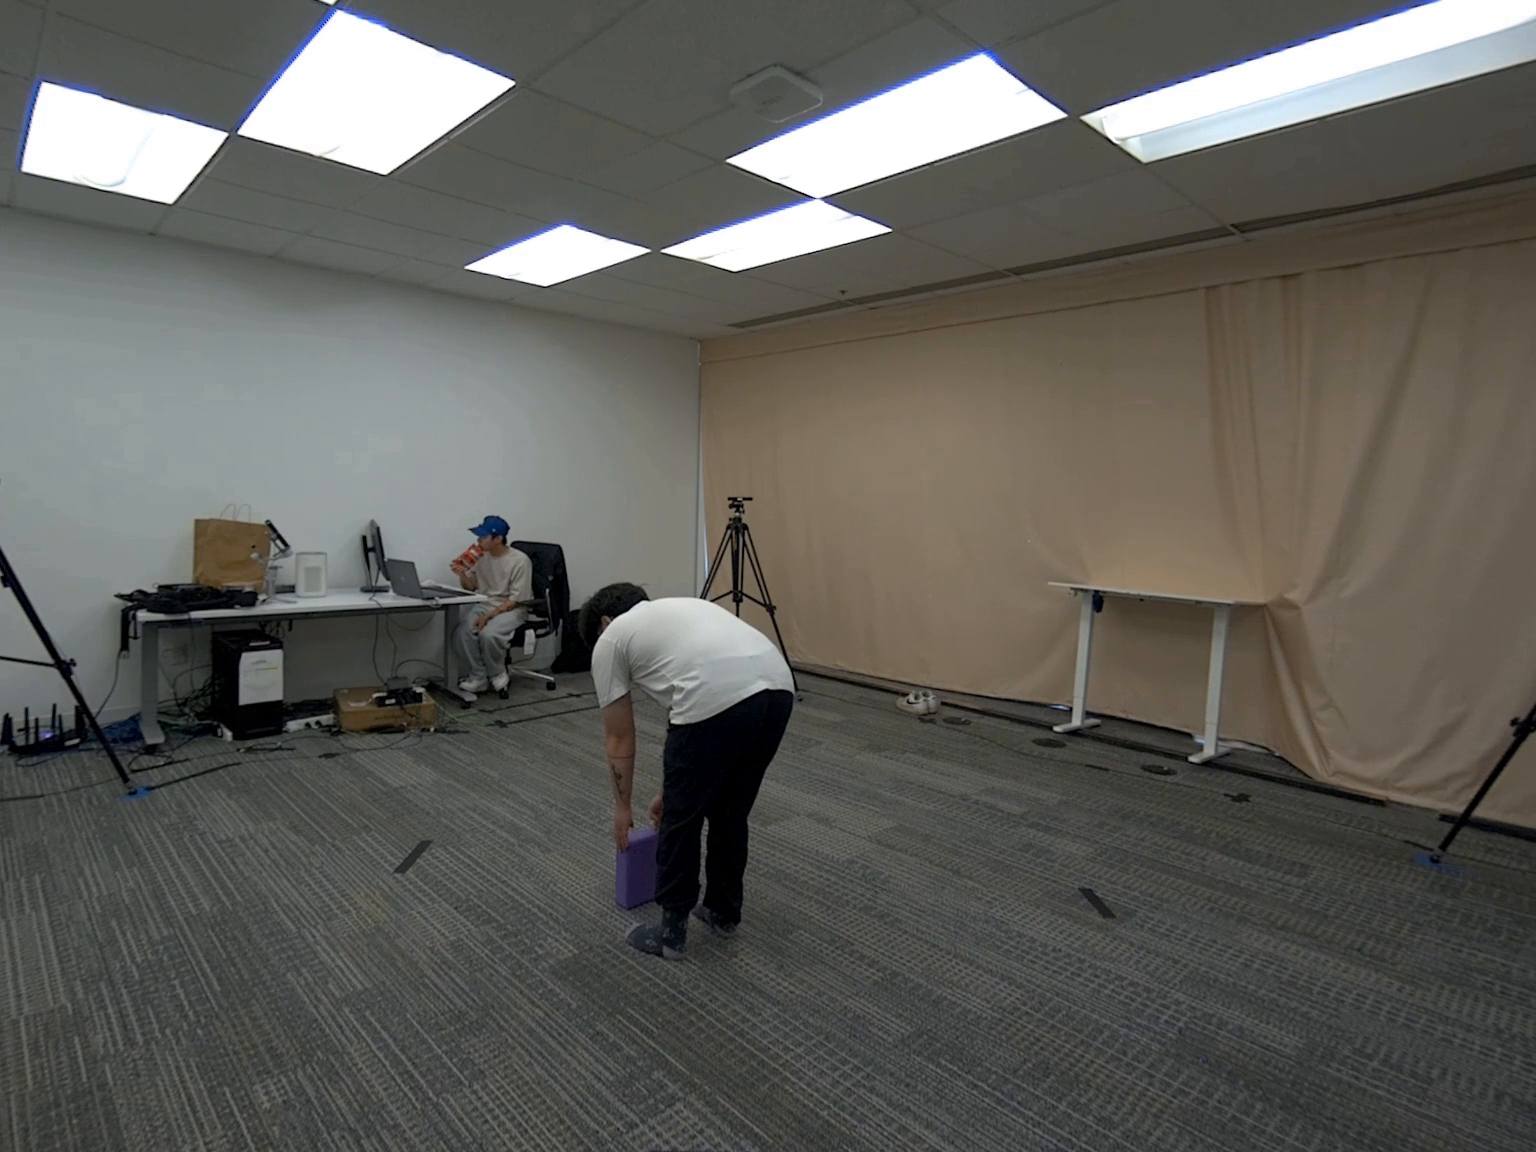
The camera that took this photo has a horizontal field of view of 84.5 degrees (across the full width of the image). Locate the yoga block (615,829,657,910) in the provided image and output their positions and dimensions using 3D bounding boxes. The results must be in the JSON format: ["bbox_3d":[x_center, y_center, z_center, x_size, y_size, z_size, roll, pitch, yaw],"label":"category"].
[{"bbox_3d":[-0.453,1.010,2.888,0.078,0.228,0.146,8,9,44],"label":"yoga block"}]
